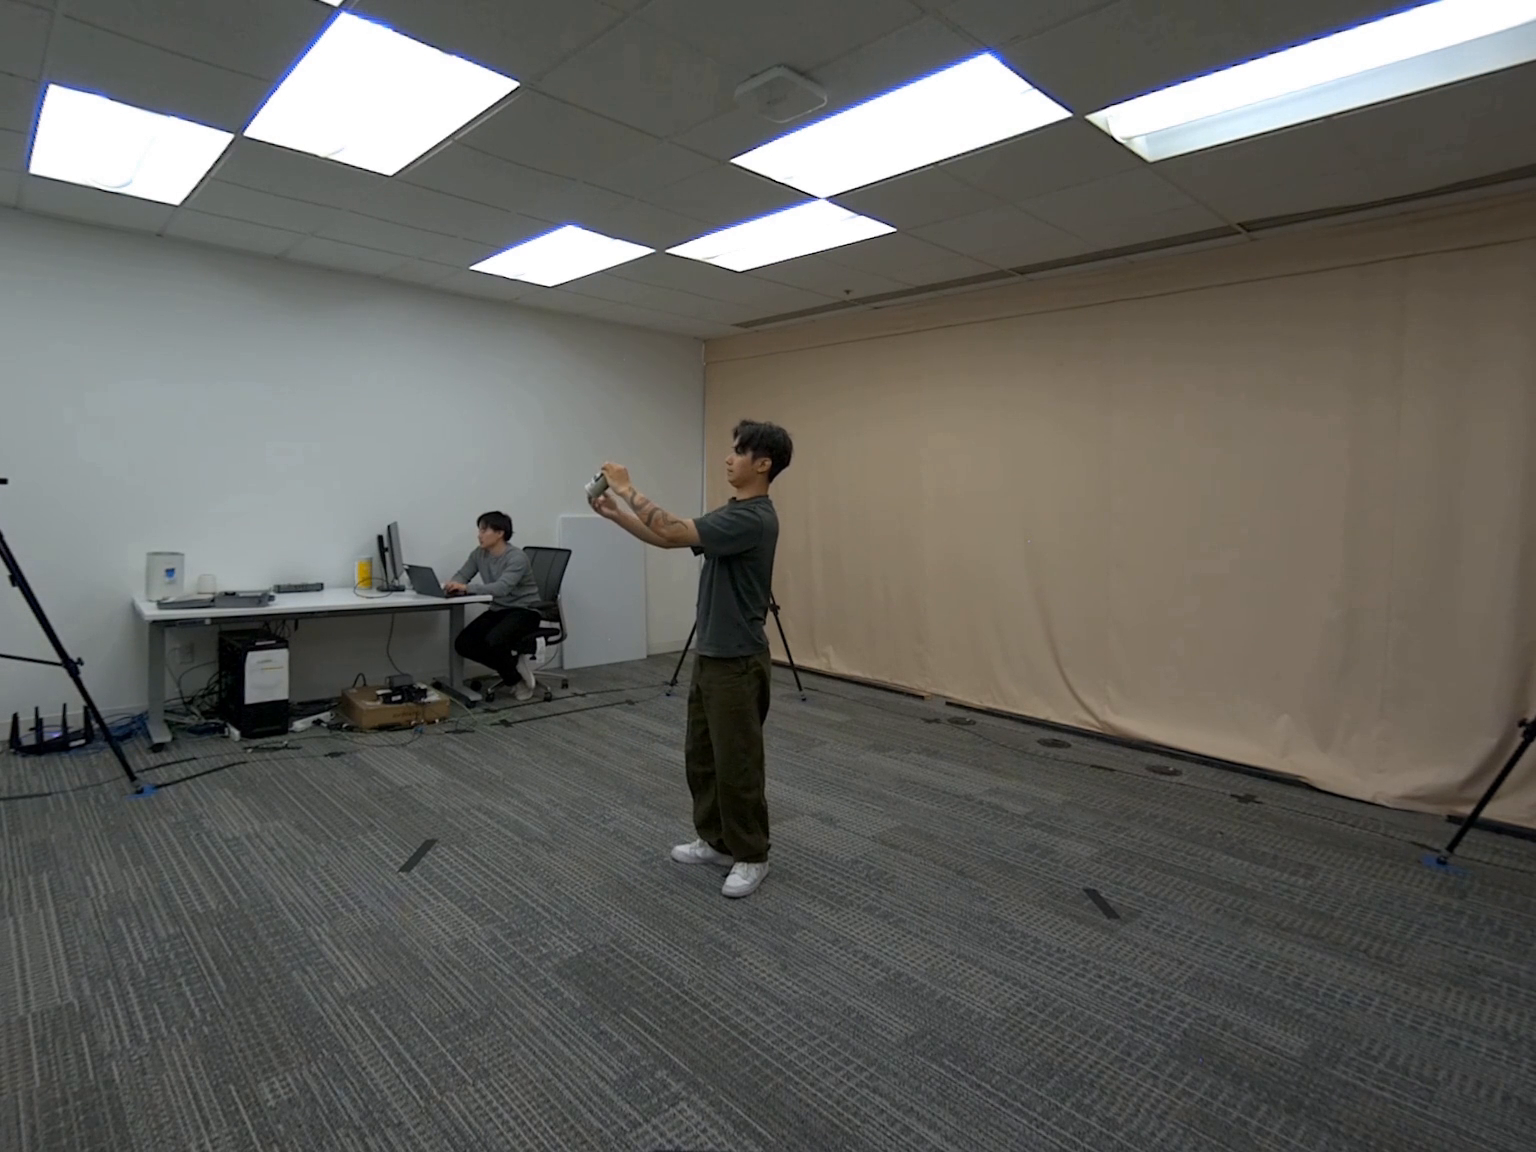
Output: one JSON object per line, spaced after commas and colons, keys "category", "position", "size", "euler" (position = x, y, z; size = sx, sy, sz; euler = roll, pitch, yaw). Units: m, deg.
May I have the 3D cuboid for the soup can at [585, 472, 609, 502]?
{"category": "soup can", "position": [-0.595, -0.336, 2.990], "size": [0.121, 0.068, 0.066], "euler": [-43, -12, 18]}
